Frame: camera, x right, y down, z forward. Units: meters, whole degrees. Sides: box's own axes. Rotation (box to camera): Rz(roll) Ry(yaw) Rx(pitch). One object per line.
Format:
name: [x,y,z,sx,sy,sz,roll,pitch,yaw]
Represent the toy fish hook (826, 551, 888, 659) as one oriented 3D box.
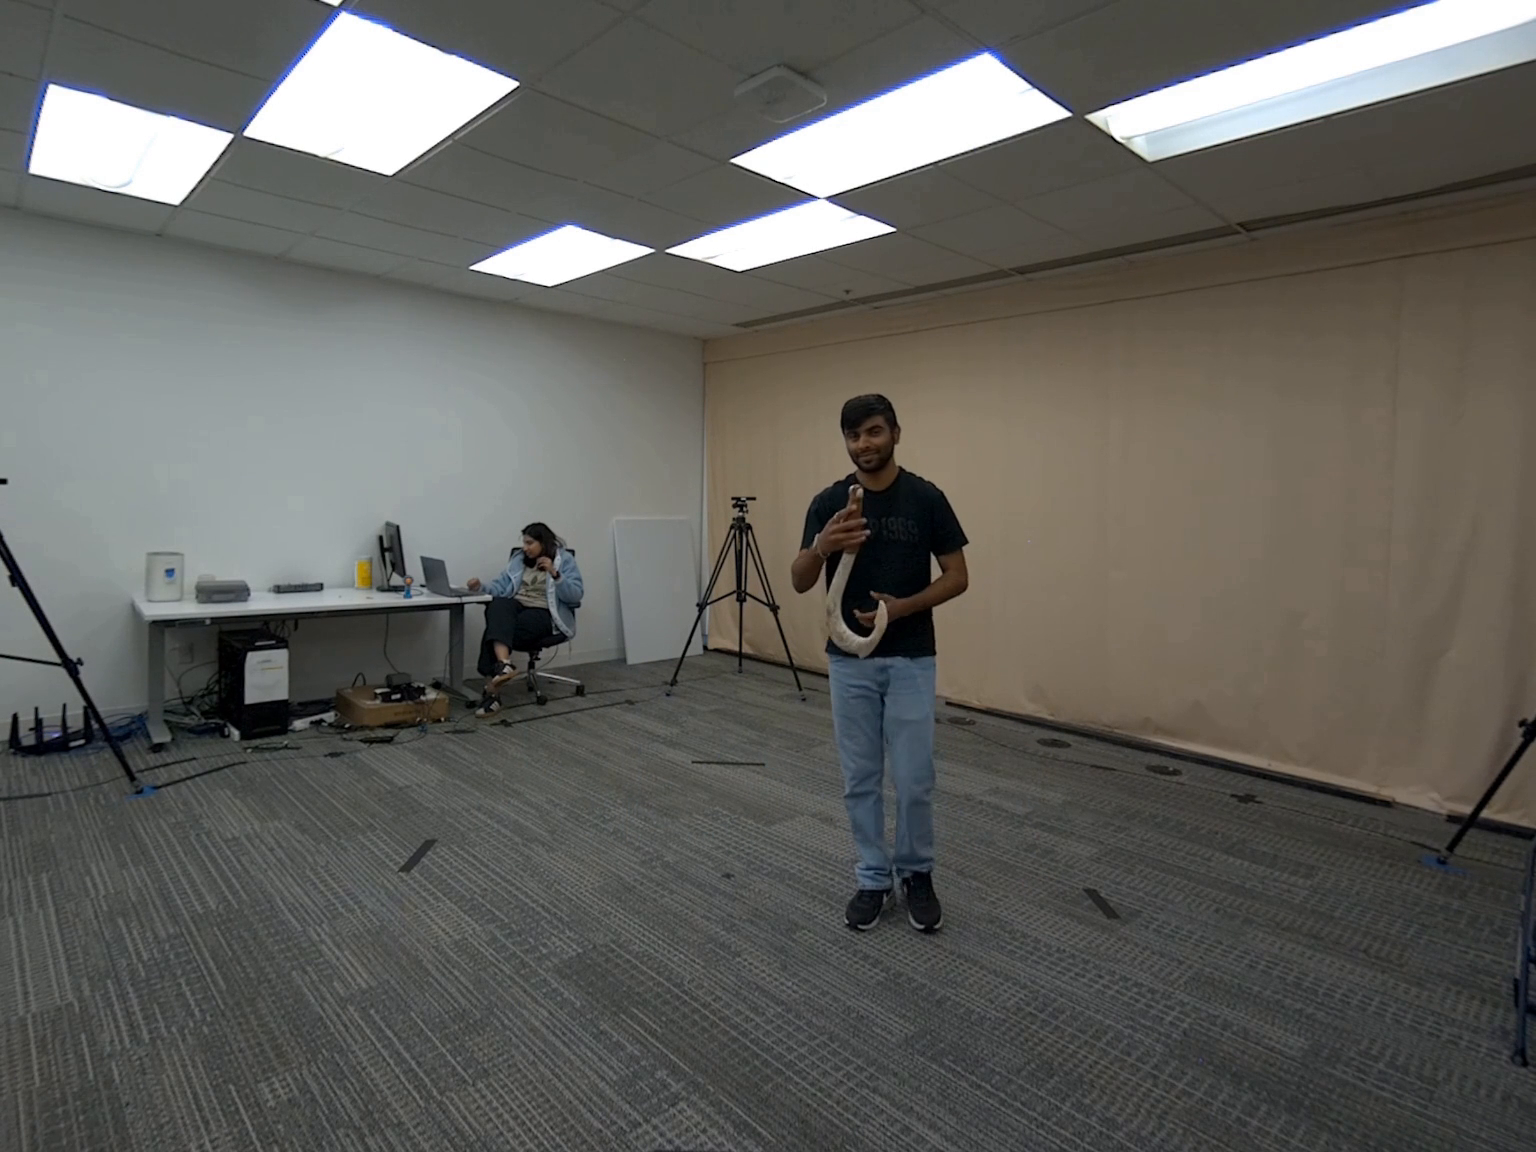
toy fish hook: [0.263,-0.009,2.451,0.231,0.500,0.047,19,25,39]
